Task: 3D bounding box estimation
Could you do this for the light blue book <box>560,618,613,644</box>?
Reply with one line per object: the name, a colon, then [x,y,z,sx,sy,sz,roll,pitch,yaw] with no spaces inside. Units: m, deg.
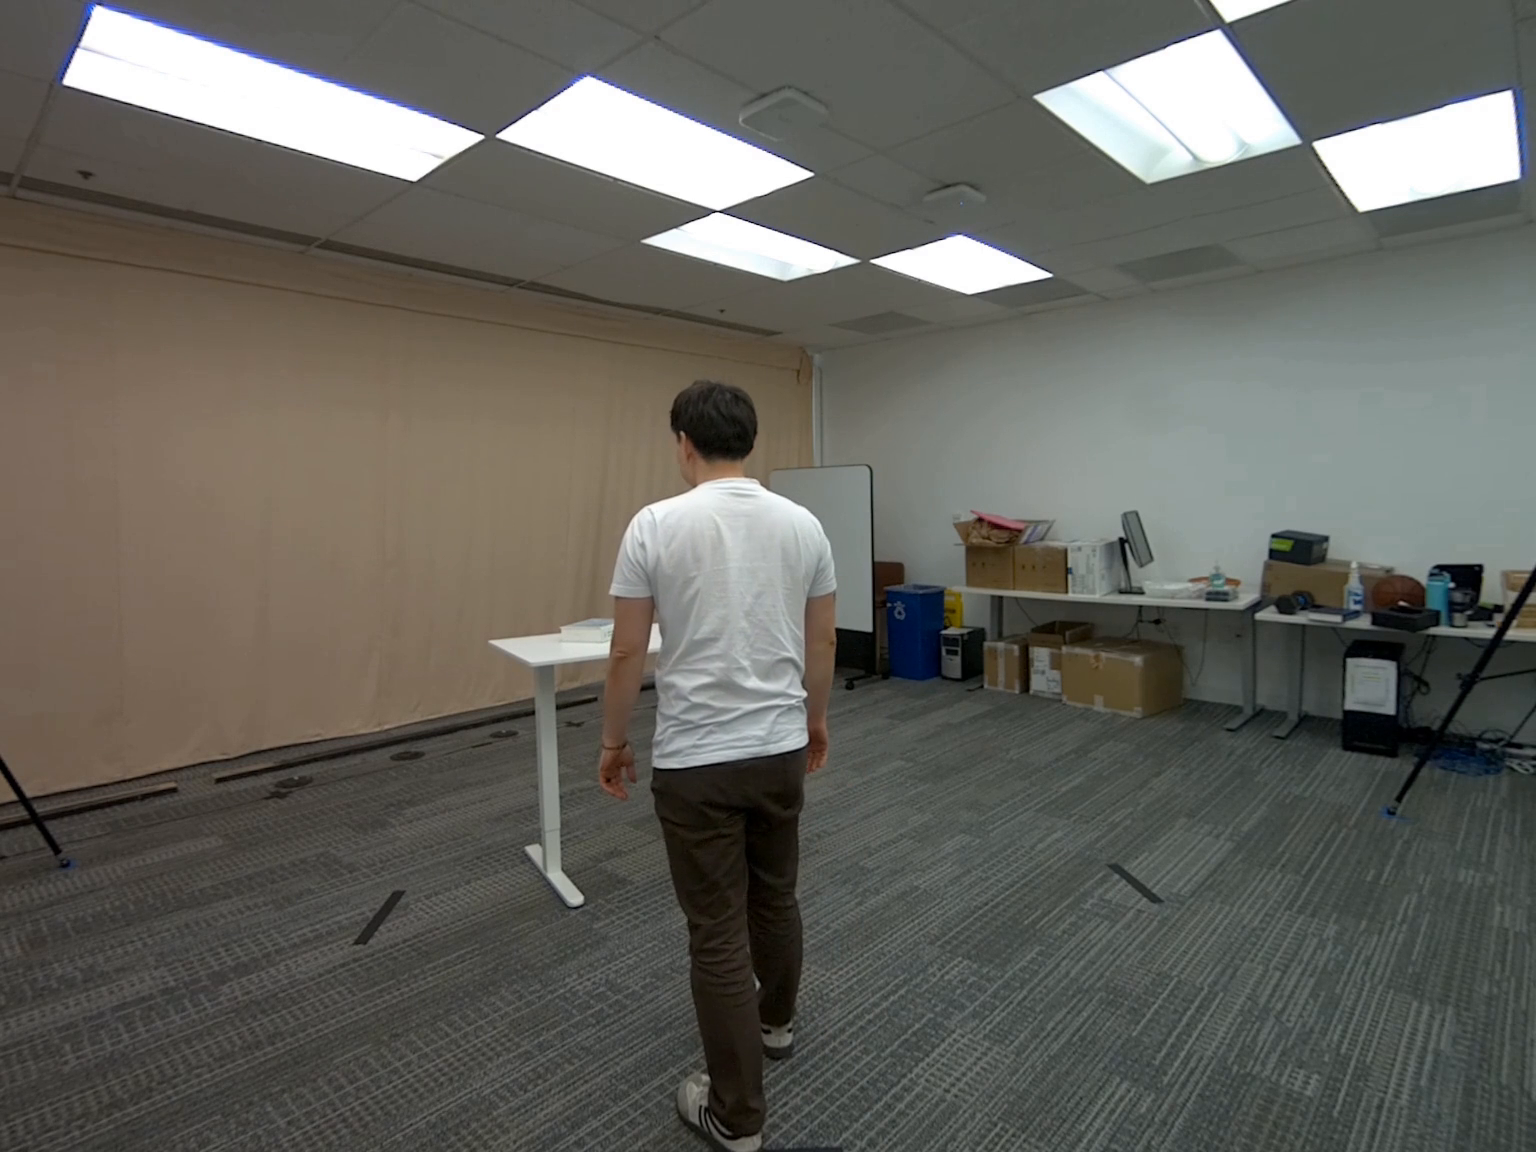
light blue book: [-0.693,0.218,3.345,0.195,0.059,0.257,0,5,15]
